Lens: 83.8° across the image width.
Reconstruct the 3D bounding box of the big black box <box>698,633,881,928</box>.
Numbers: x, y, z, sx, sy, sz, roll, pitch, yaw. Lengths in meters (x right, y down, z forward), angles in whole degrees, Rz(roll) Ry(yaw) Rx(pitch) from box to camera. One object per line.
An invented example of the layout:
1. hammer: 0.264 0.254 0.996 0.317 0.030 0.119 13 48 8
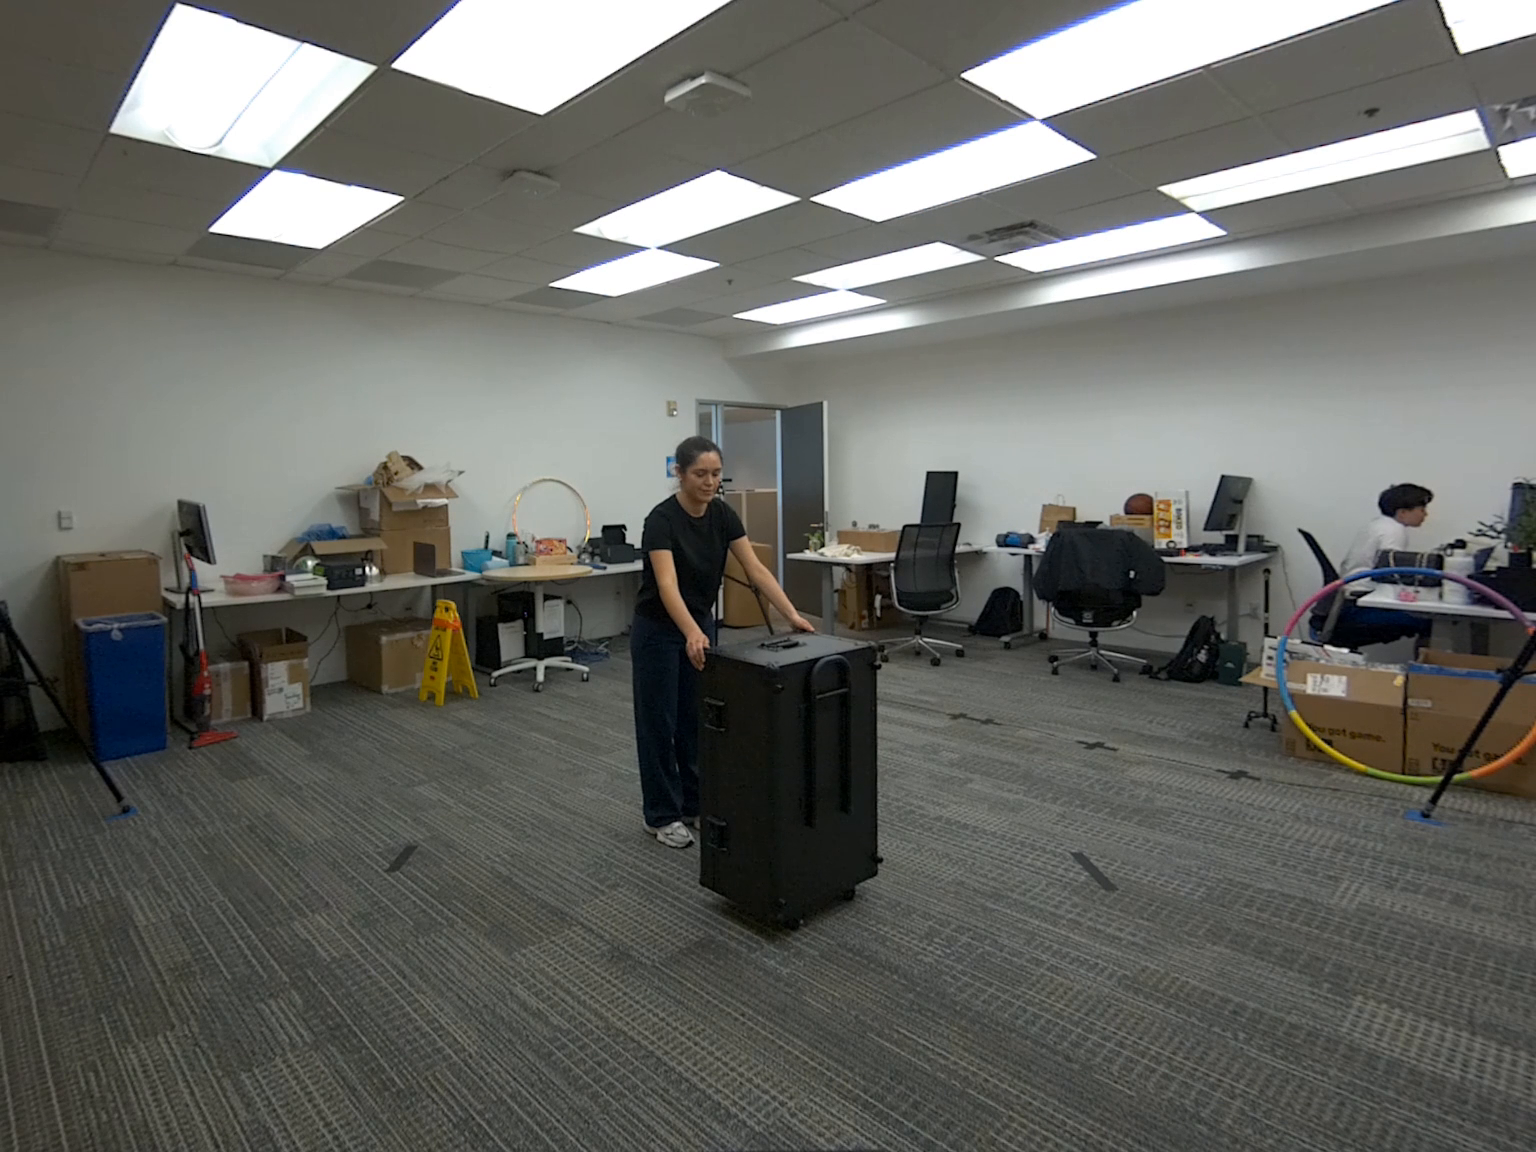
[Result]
1. big black box: 0.079 0.649 2.809 0.507 0.857 0.409 -4 7 -42
